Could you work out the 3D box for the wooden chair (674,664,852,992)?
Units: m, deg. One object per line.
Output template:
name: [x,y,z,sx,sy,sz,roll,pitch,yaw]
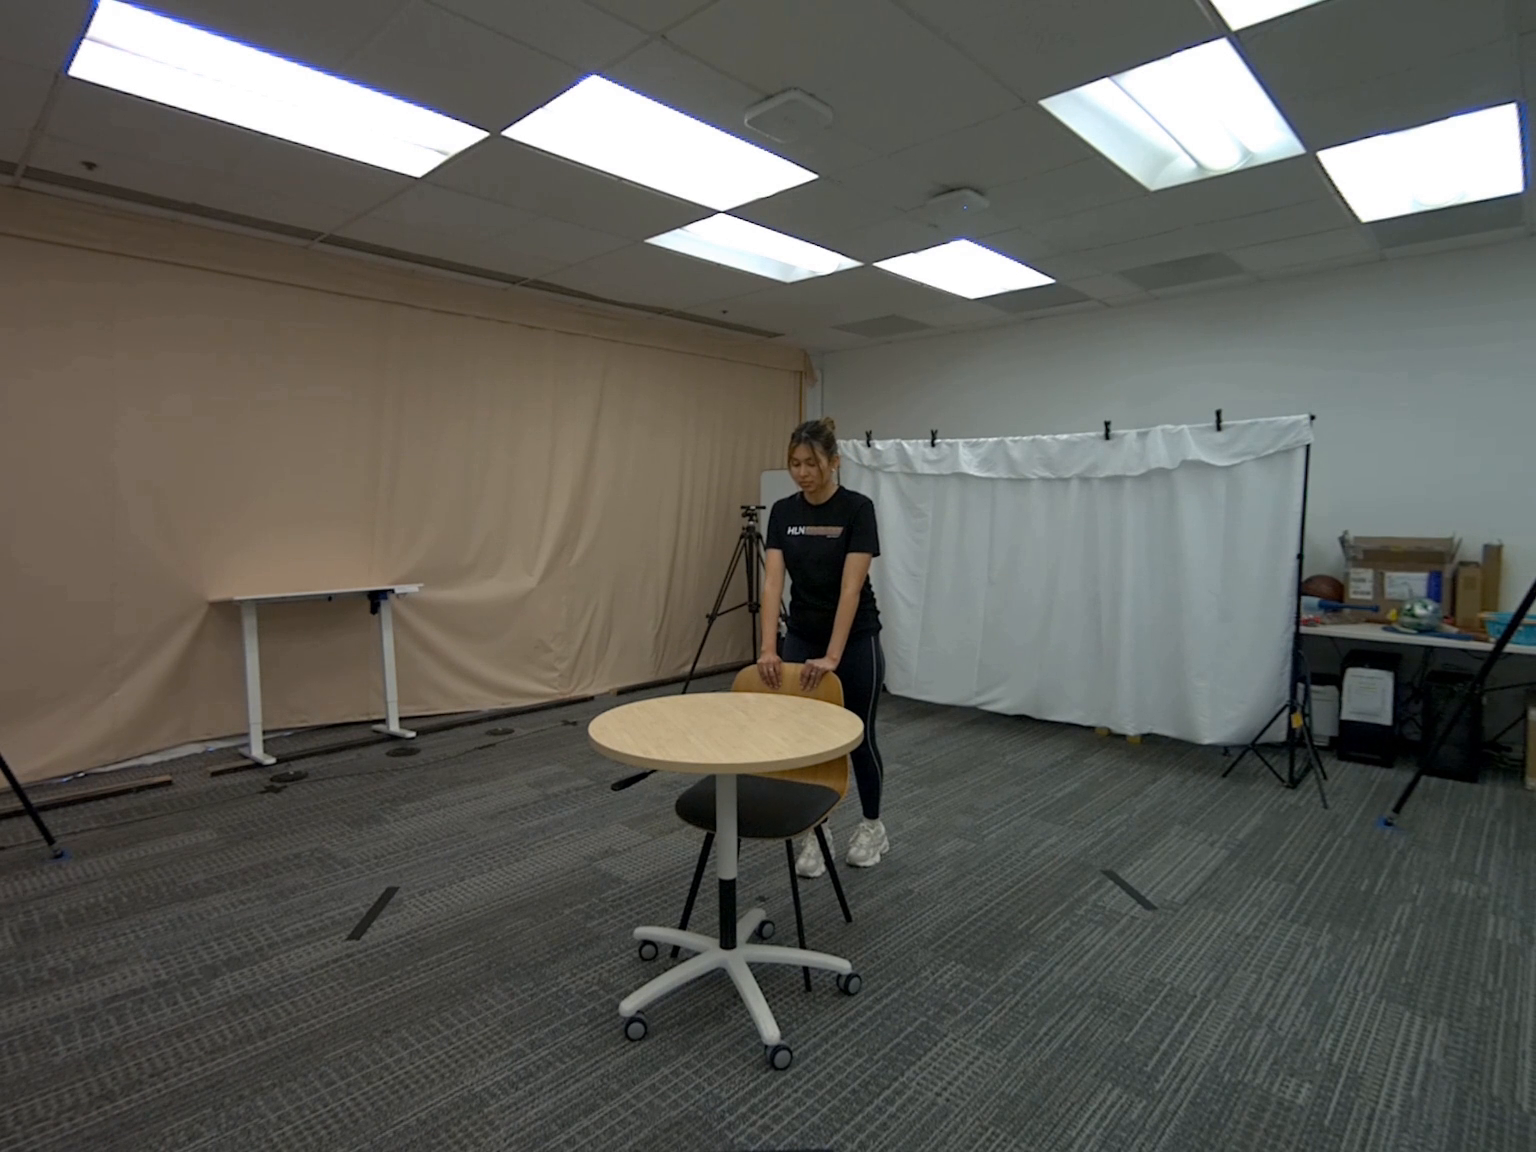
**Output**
wooden chair: [-0.007,0.741,2.676,0.490,0.877,0.510,2,0,24]
